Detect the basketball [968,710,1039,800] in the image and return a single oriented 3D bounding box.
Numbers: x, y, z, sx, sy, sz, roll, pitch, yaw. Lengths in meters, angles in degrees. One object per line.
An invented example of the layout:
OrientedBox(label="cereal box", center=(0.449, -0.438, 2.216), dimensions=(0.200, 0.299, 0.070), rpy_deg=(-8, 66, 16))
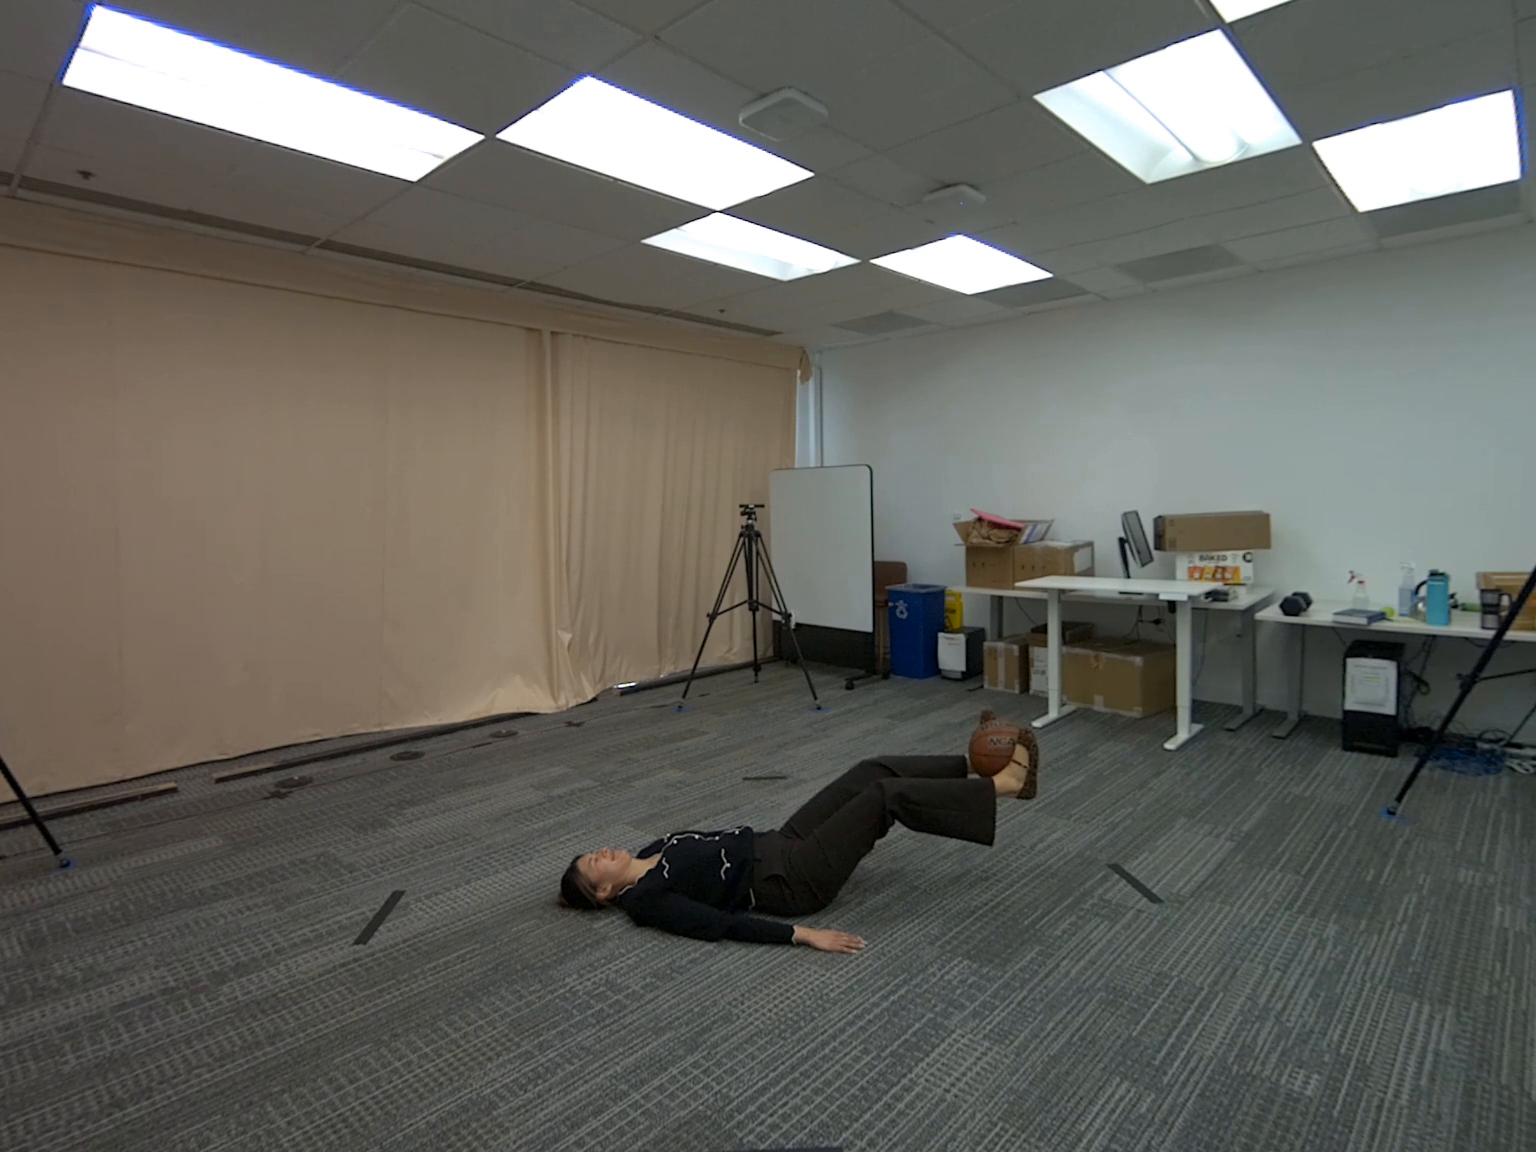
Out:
OrientedBox(label="basketball", center=(0.859, 0.642, 3.044), dimensions=(0.236, 0.236, 0.236), rpy_deg=(0, 1, -2))
